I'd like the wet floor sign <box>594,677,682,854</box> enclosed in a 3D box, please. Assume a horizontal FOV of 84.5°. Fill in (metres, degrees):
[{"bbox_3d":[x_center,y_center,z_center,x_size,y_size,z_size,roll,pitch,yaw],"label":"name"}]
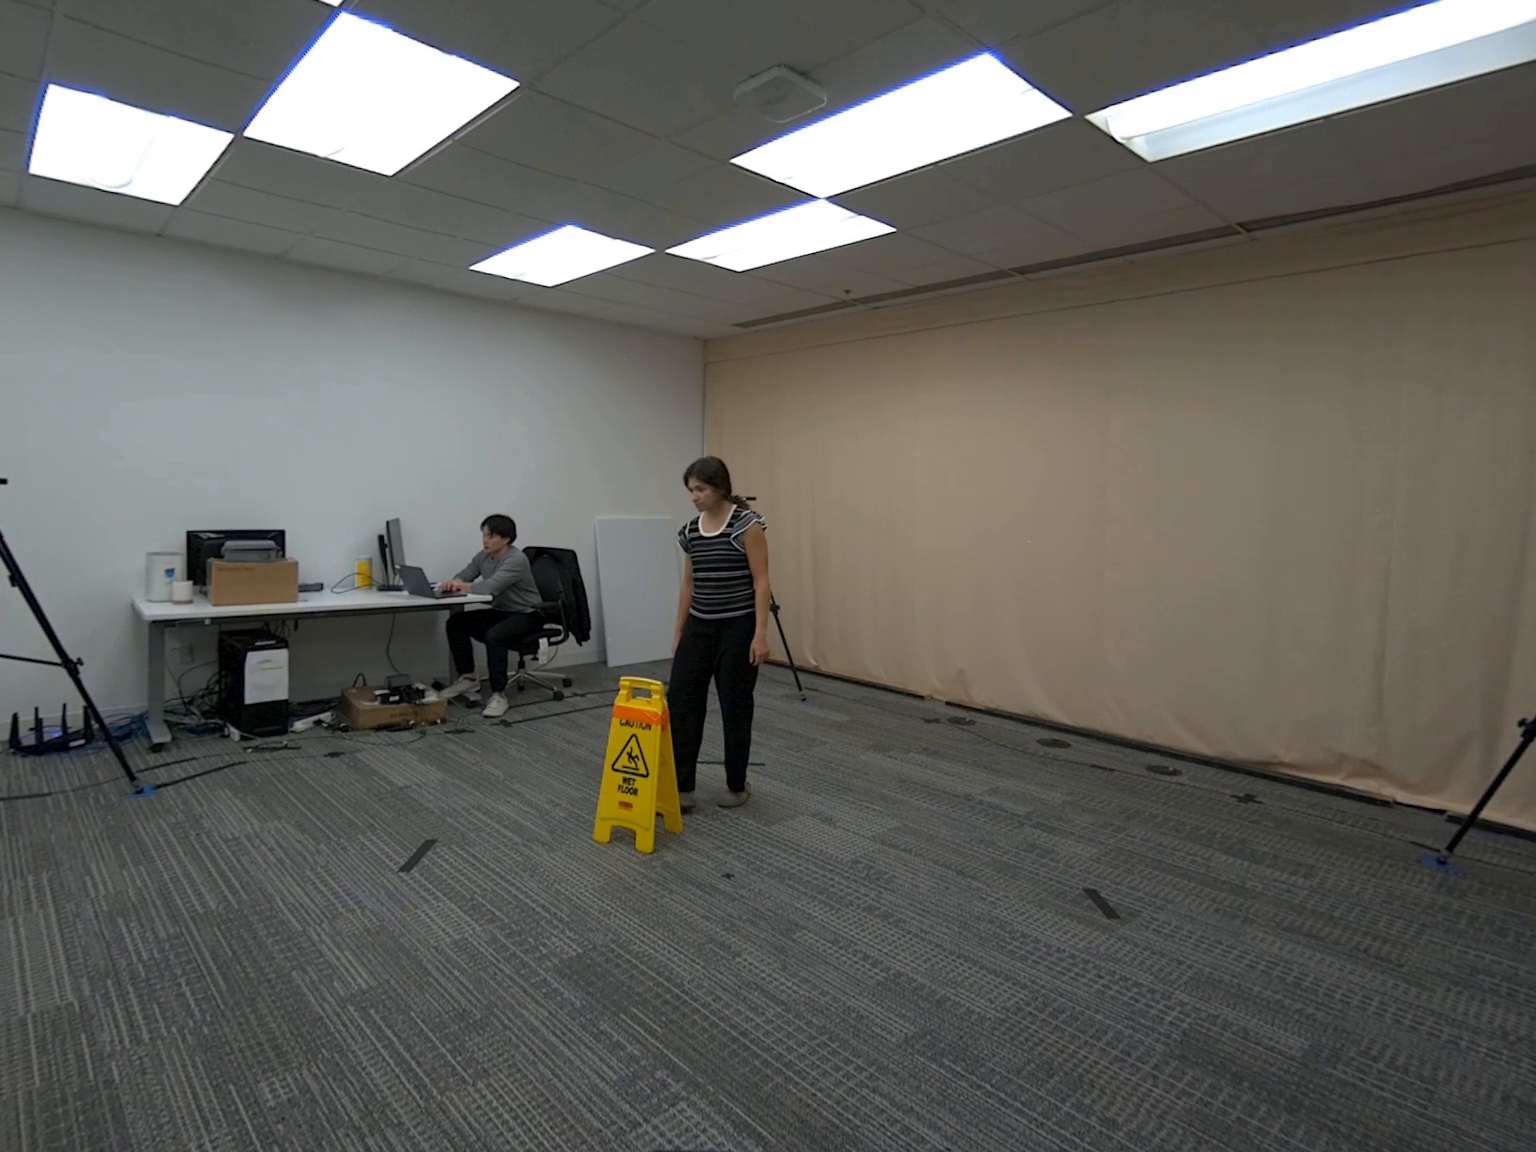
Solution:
[{"bbox_3d":[-0.533,0.745,3.443,0.287,0.645,0.285,4,3,24],"label":"wet floor sign"}]
